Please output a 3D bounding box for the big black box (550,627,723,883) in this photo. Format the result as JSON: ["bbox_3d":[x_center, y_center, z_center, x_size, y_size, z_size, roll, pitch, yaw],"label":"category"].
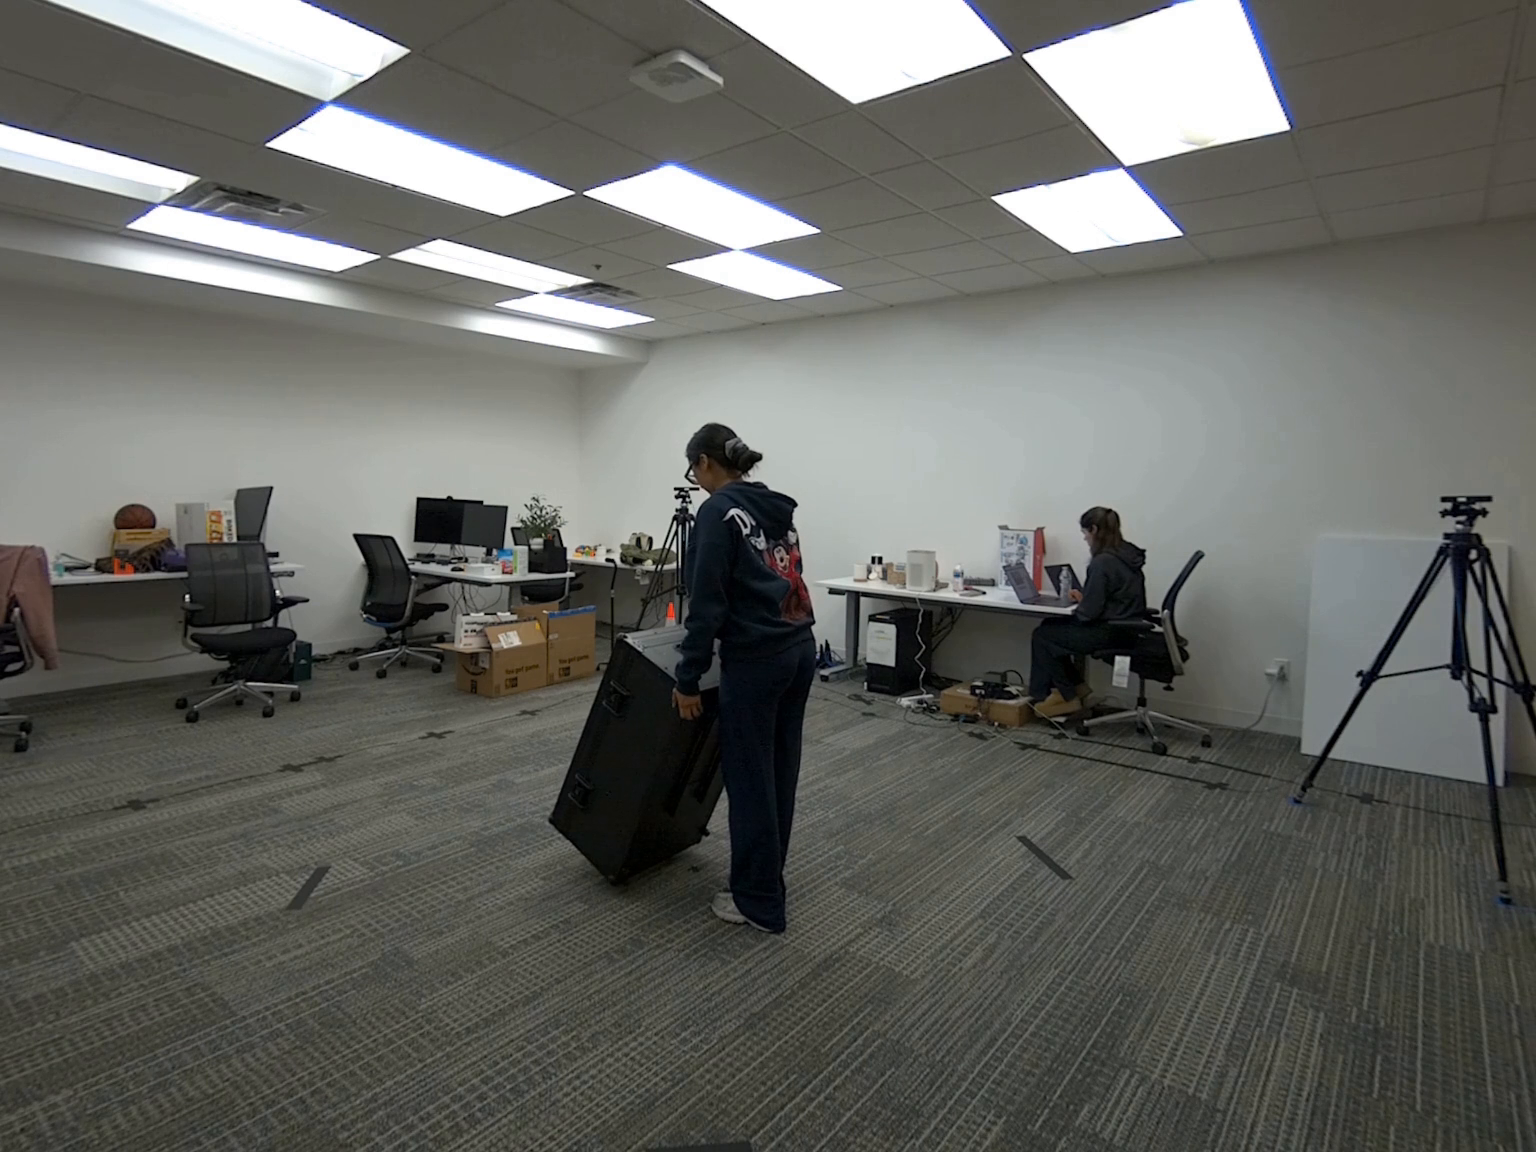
[{"bbox_3d":[-0.396,0.643,3.044,0.411,0.854,0.506,33,20,28],"label":"big black box"}]
